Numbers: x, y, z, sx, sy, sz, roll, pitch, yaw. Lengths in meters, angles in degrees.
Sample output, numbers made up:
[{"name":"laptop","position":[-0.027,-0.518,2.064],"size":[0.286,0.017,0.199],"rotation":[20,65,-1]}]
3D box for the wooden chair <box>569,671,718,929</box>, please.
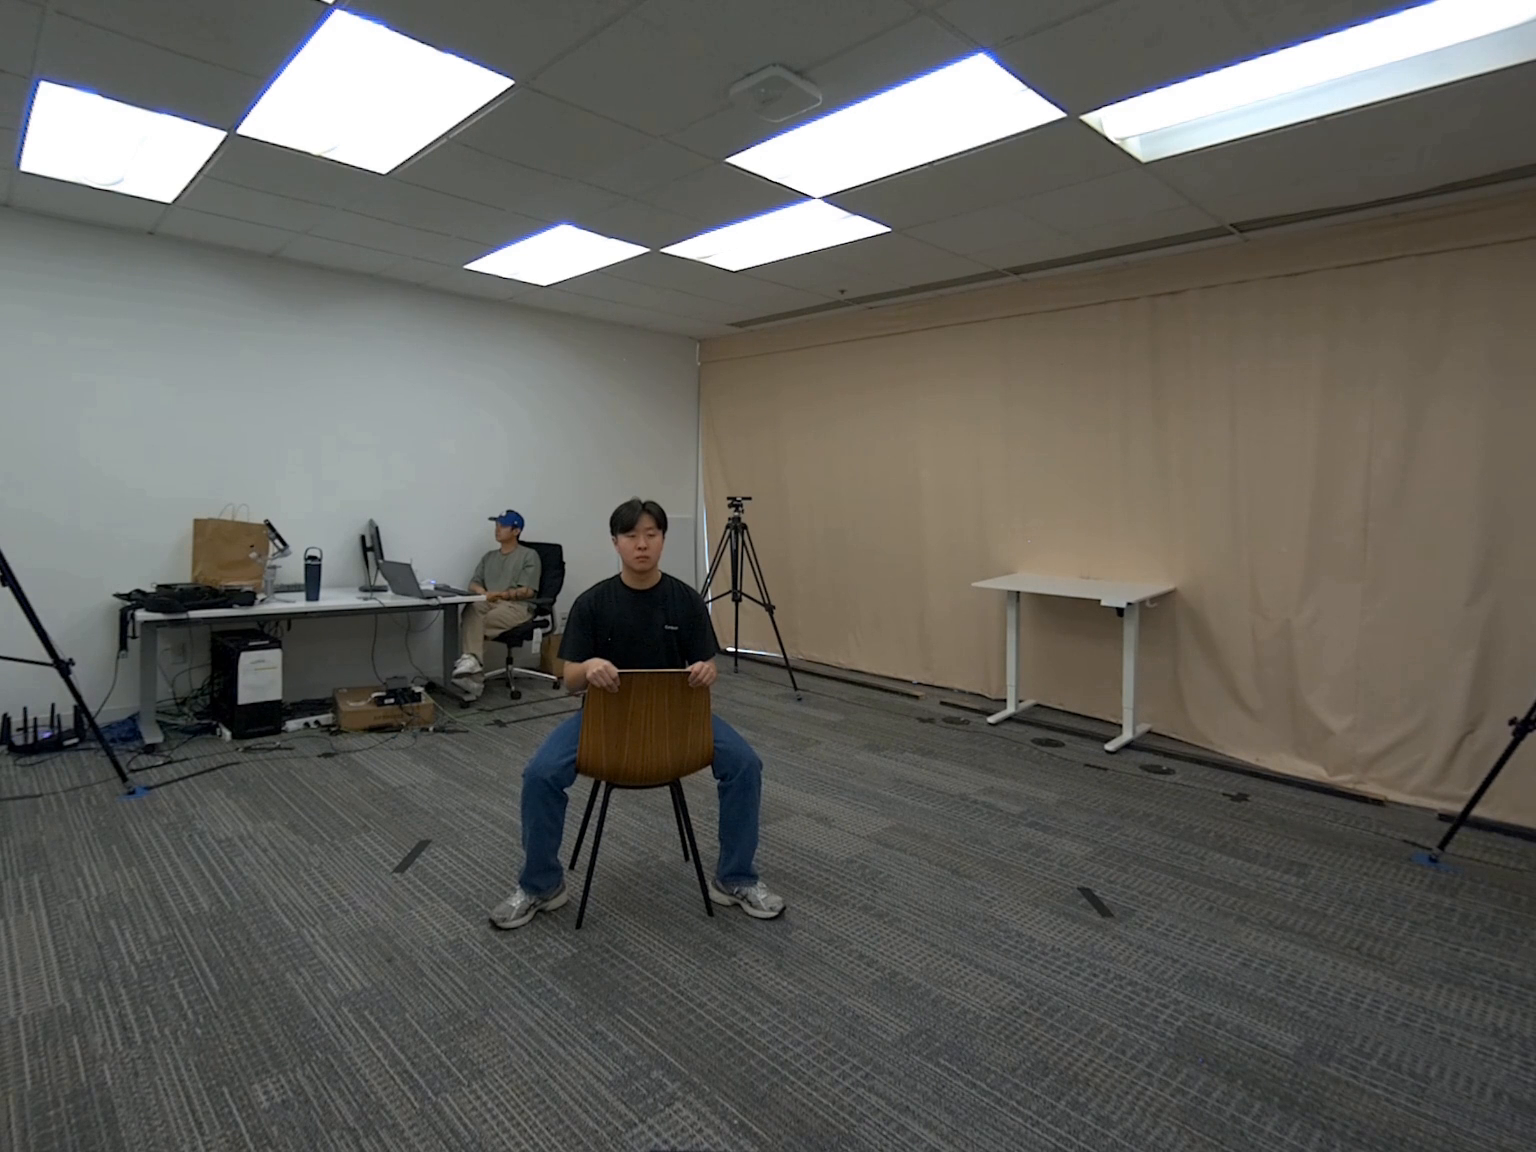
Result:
[{"name":"wooden chair","position":[-0.452,0.691,2.943],"size":[0.473,0.873,0.531],"rotation":[0,7,-15]}]
